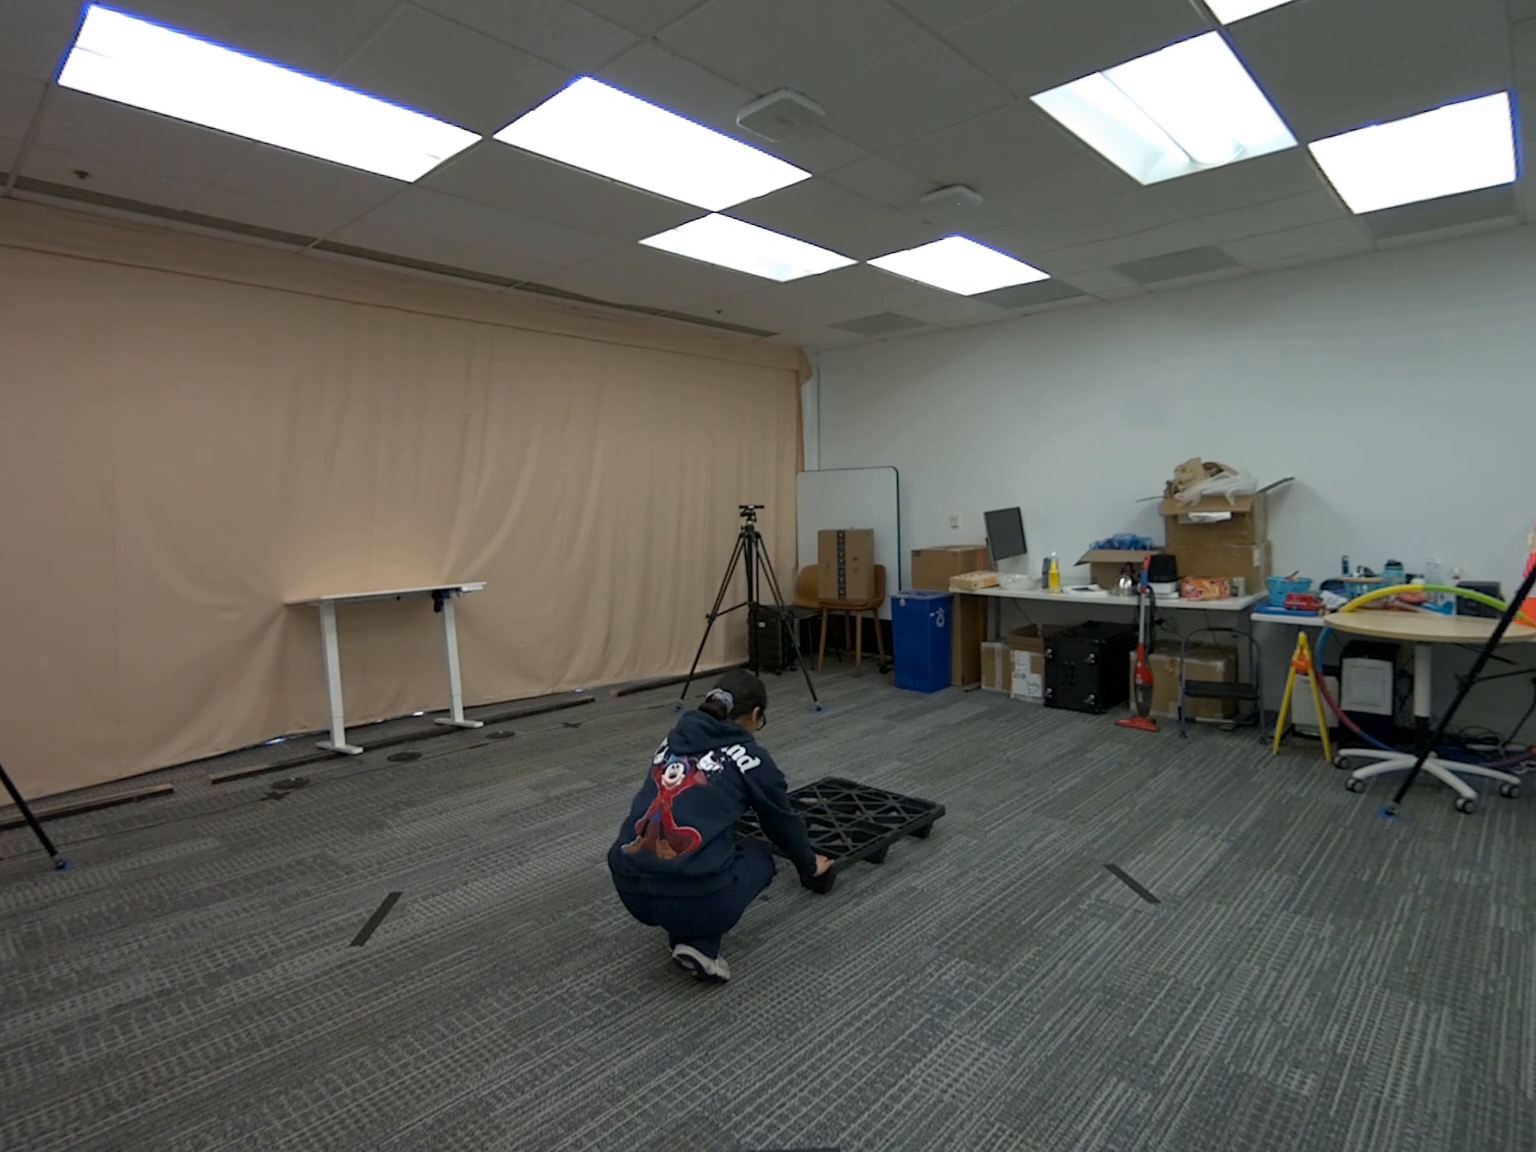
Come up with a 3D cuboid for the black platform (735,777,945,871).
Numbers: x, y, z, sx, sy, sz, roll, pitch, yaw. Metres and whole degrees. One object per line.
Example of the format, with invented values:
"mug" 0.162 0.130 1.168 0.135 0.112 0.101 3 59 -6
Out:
"black platform" 0.259 1.035 3.416 0.625 0.143 0.781 2 6 43
